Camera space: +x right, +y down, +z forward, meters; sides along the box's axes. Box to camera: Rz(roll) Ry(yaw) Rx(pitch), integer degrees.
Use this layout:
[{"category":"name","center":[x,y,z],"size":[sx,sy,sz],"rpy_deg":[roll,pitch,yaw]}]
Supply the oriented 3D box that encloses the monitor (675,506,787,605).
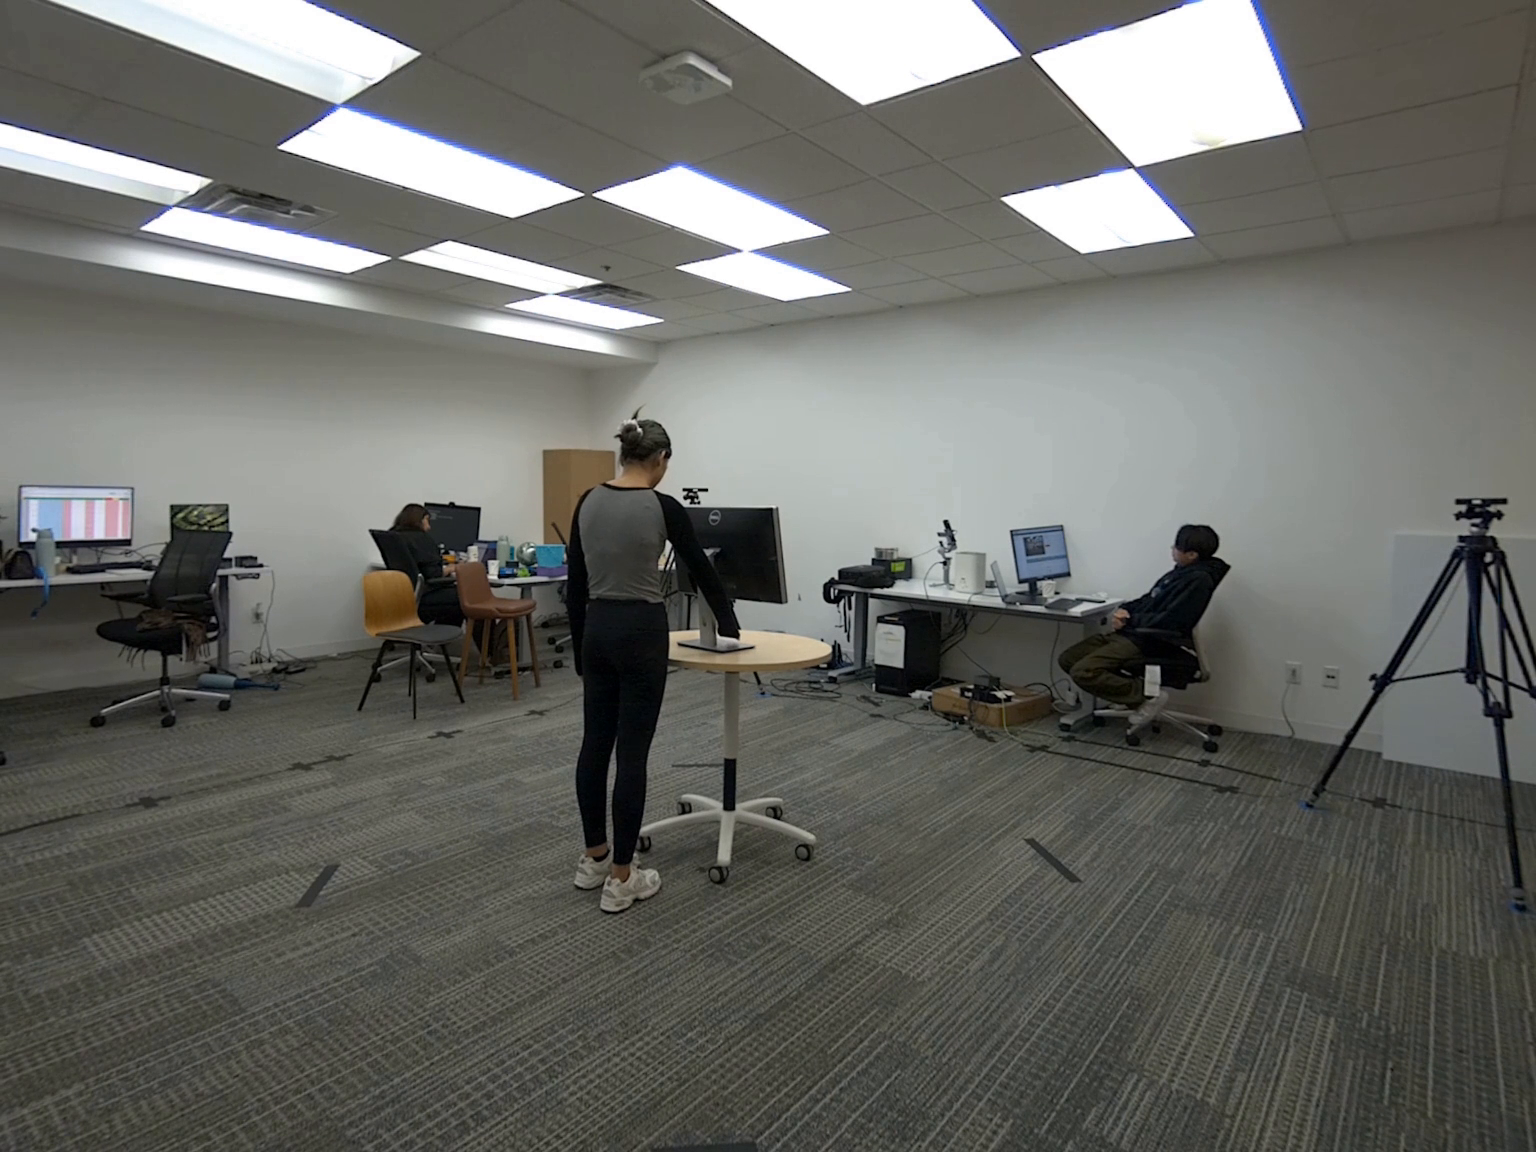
[{"category":"monitor","center":[-0.200,0.001,3.247],"size":[0.557,0.522,0.181],"rpy_deg":[4,2,40]}]
